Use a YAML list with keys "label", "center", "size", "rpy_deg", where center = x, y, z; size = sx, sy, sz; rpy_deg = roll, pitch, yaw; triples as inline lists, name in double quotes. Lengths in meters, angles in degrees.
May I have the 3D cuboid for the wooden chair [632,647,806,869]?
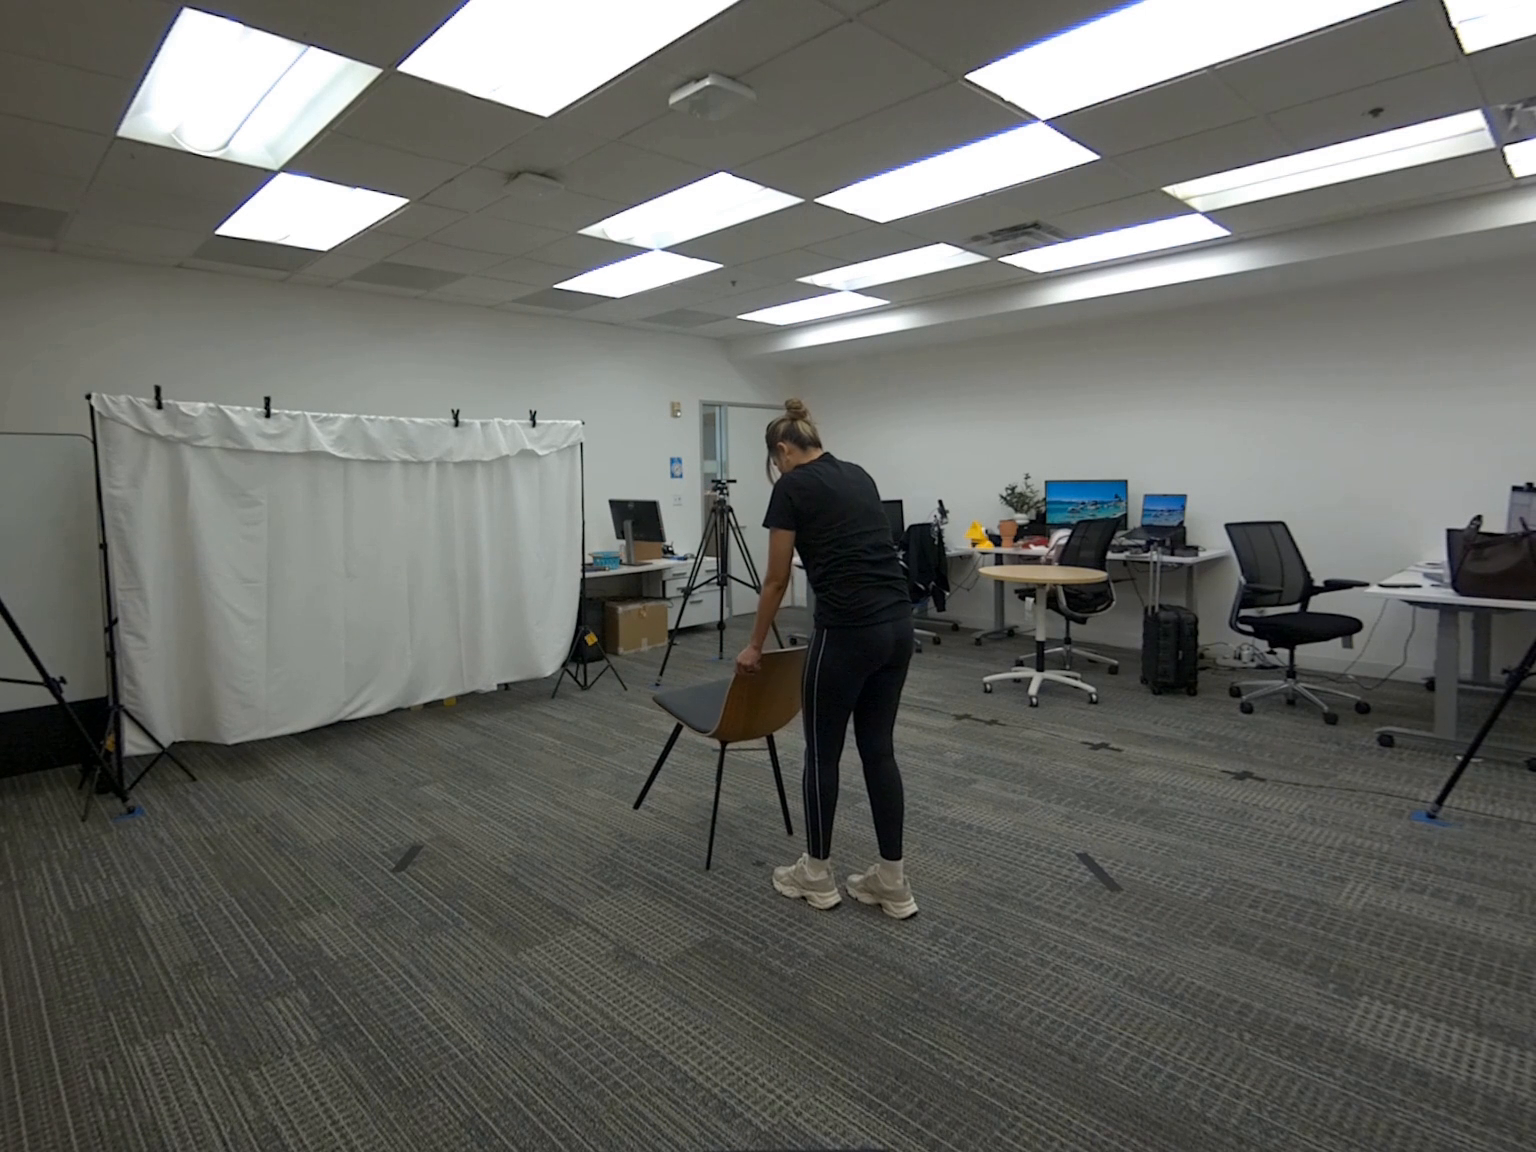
- label: "wooden chair"
  center: [-0.156, 0.563, 3.273]
  size: [0.465, 0.867, 0.543]
  rpy_deg: [-5, 24, -44]
